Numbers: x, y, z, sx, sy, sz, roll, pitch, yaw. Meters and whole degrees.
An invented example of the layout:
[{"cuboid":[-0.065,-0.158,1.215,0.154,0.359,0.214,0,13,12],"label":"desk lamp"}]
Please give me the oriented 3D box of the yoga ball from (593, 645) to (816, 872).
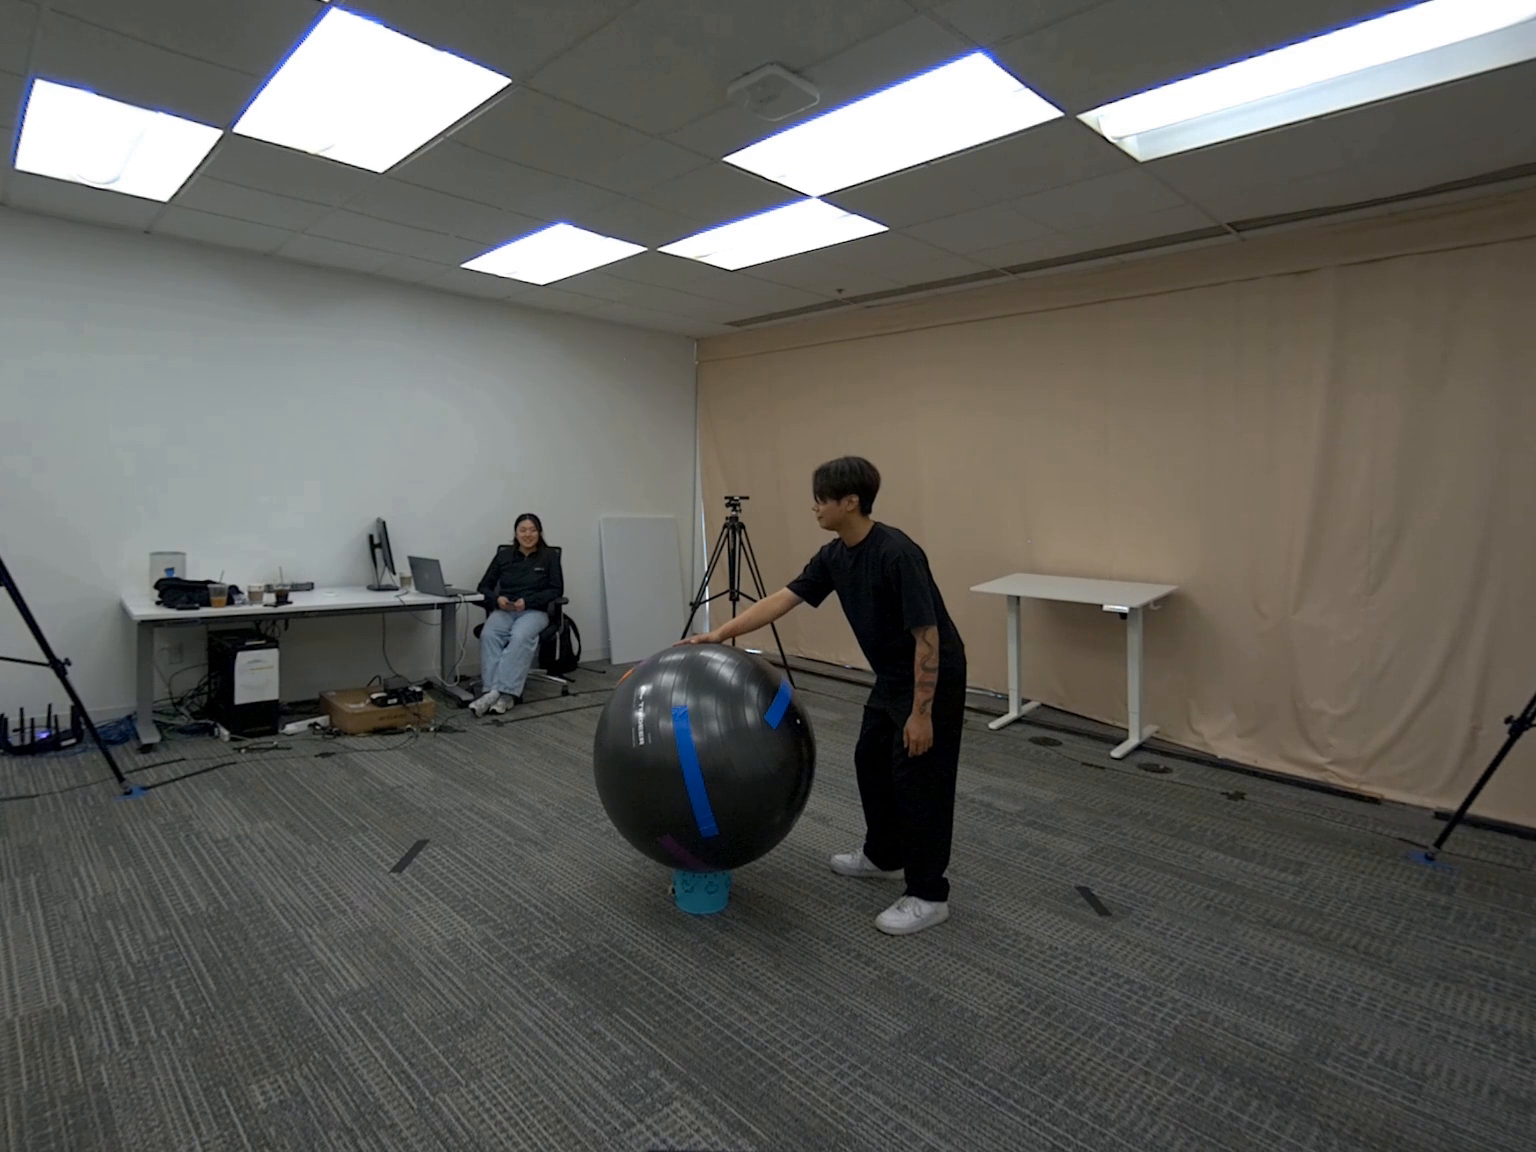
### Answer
[{"cuboid":[-0.233,0.618,2.880,0.757,0.756,0.761,1,4,-1],"label":"yoga ball"}]
